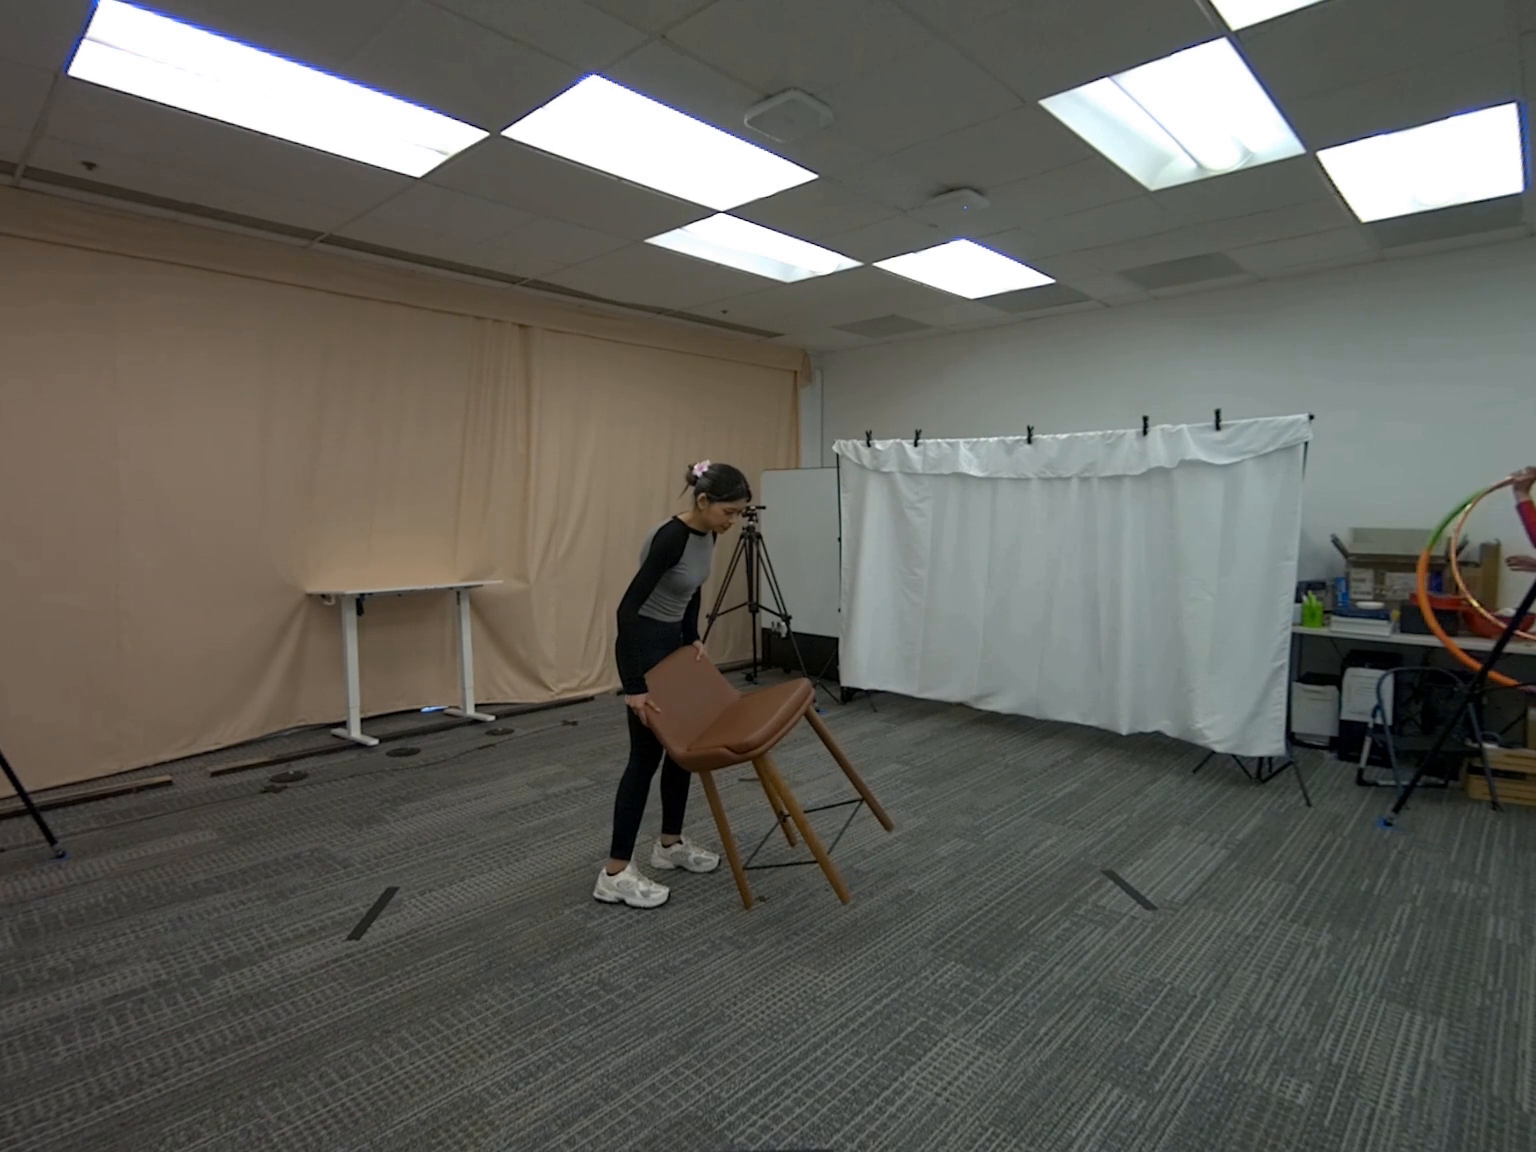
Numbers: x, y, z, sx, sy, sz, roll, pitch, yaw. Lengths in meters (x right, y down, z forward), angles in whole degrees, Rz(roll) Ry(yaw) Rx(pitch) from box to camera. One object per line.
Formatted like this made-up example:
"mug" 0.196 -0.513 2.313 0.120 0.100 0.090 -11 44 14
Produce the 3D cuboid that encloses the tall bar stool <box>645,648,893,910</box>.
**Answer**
"tall bar stool" -0.019 0.640 2.891 0.477 0.887 0.449 -26 4 38
